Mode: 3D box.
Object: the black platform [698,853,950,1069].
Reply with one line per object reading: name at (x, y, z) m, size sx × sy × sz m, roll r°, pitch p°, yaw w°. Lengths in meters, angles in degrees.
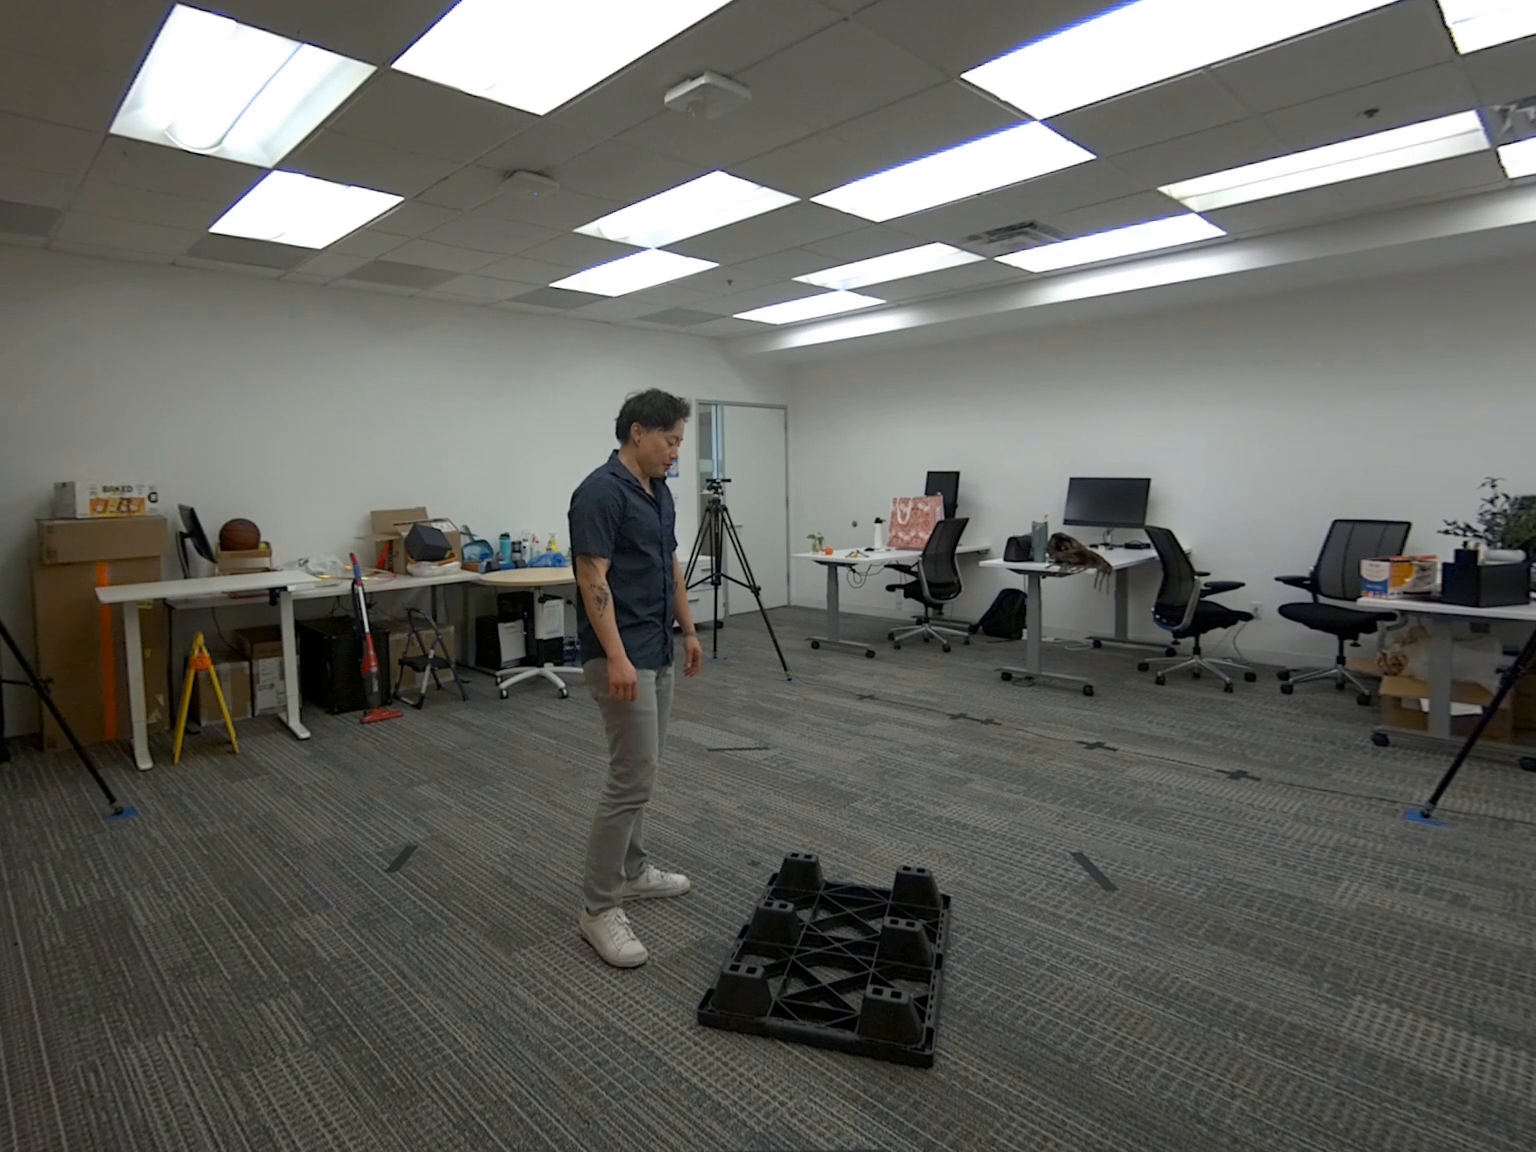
black platform at (0.210, 1.050, 2.470) m, size 0.615 × 0.142 × 0.797 m, roll 0°, pitch 7°, yaw 16°
